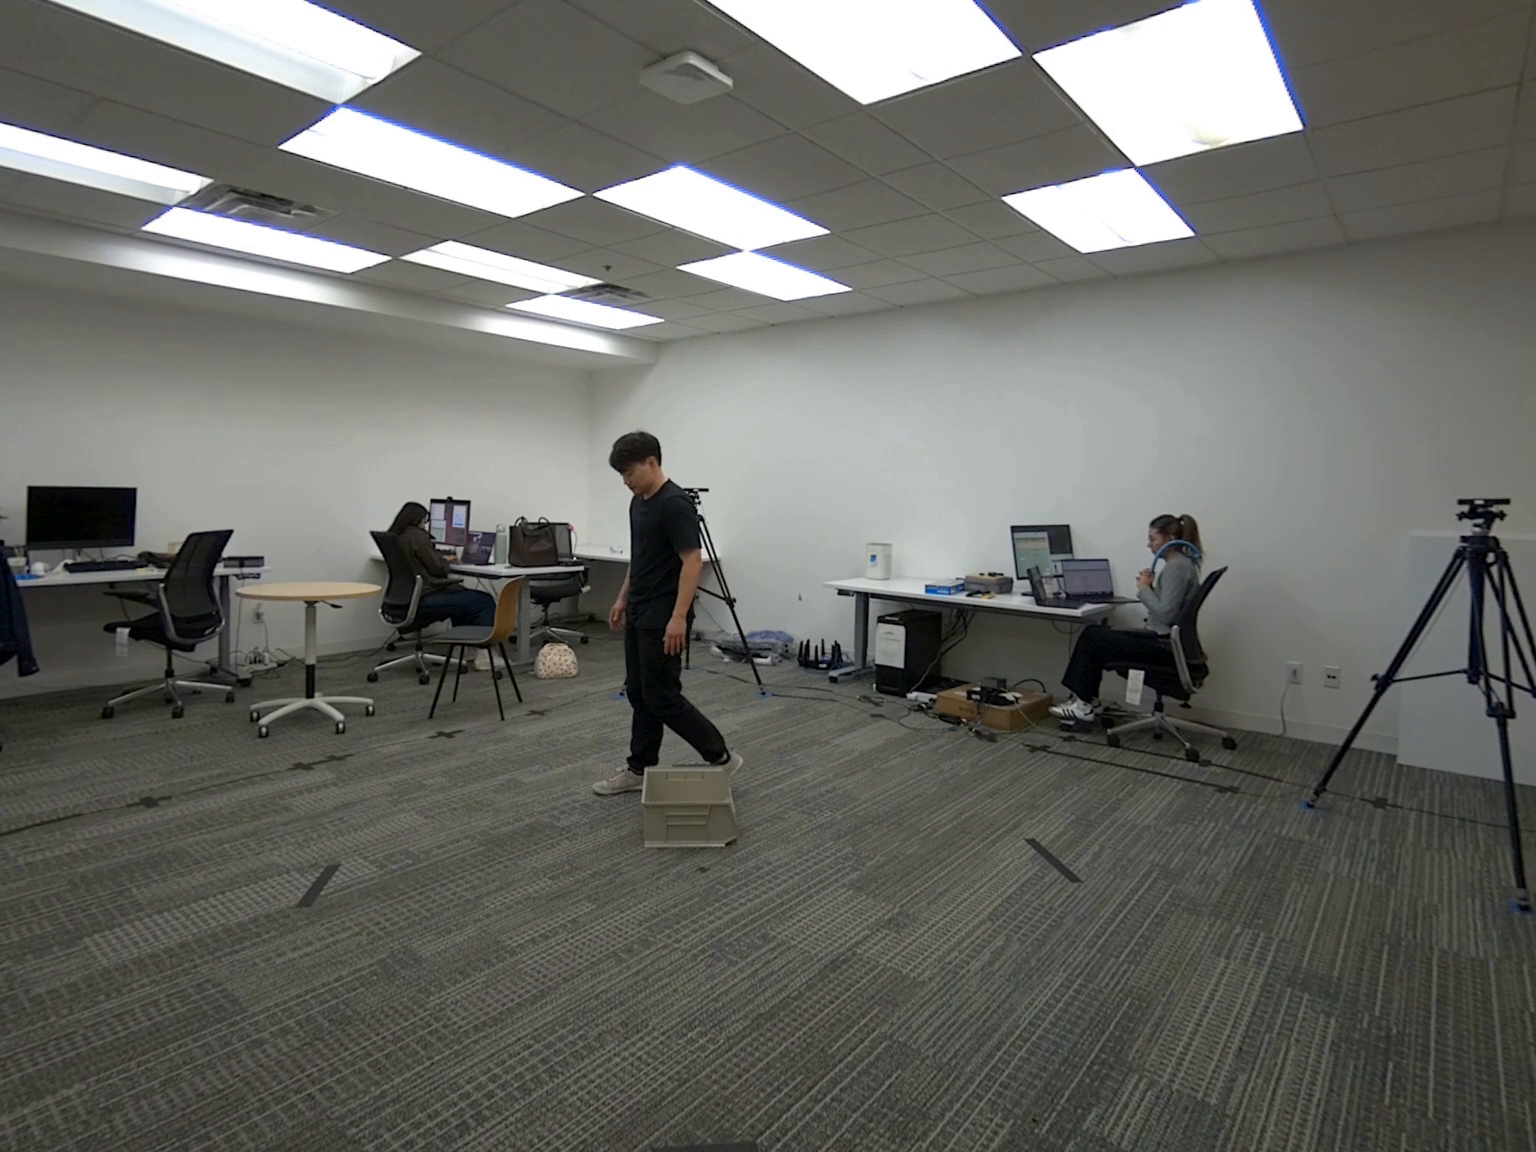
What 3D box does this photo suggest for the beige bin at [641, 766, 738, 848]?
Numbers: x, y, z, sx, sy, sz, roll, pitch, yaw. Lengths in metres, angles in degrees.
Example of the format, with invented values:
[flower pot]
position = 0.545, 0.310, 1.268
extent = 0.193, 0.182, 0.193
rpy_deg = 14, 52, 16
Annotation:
[beige bin]
position = -0.337, 0.944, 3.499
extent = 0.375, 0.188, 0.426
rpy_deg = 0, 6, -5
